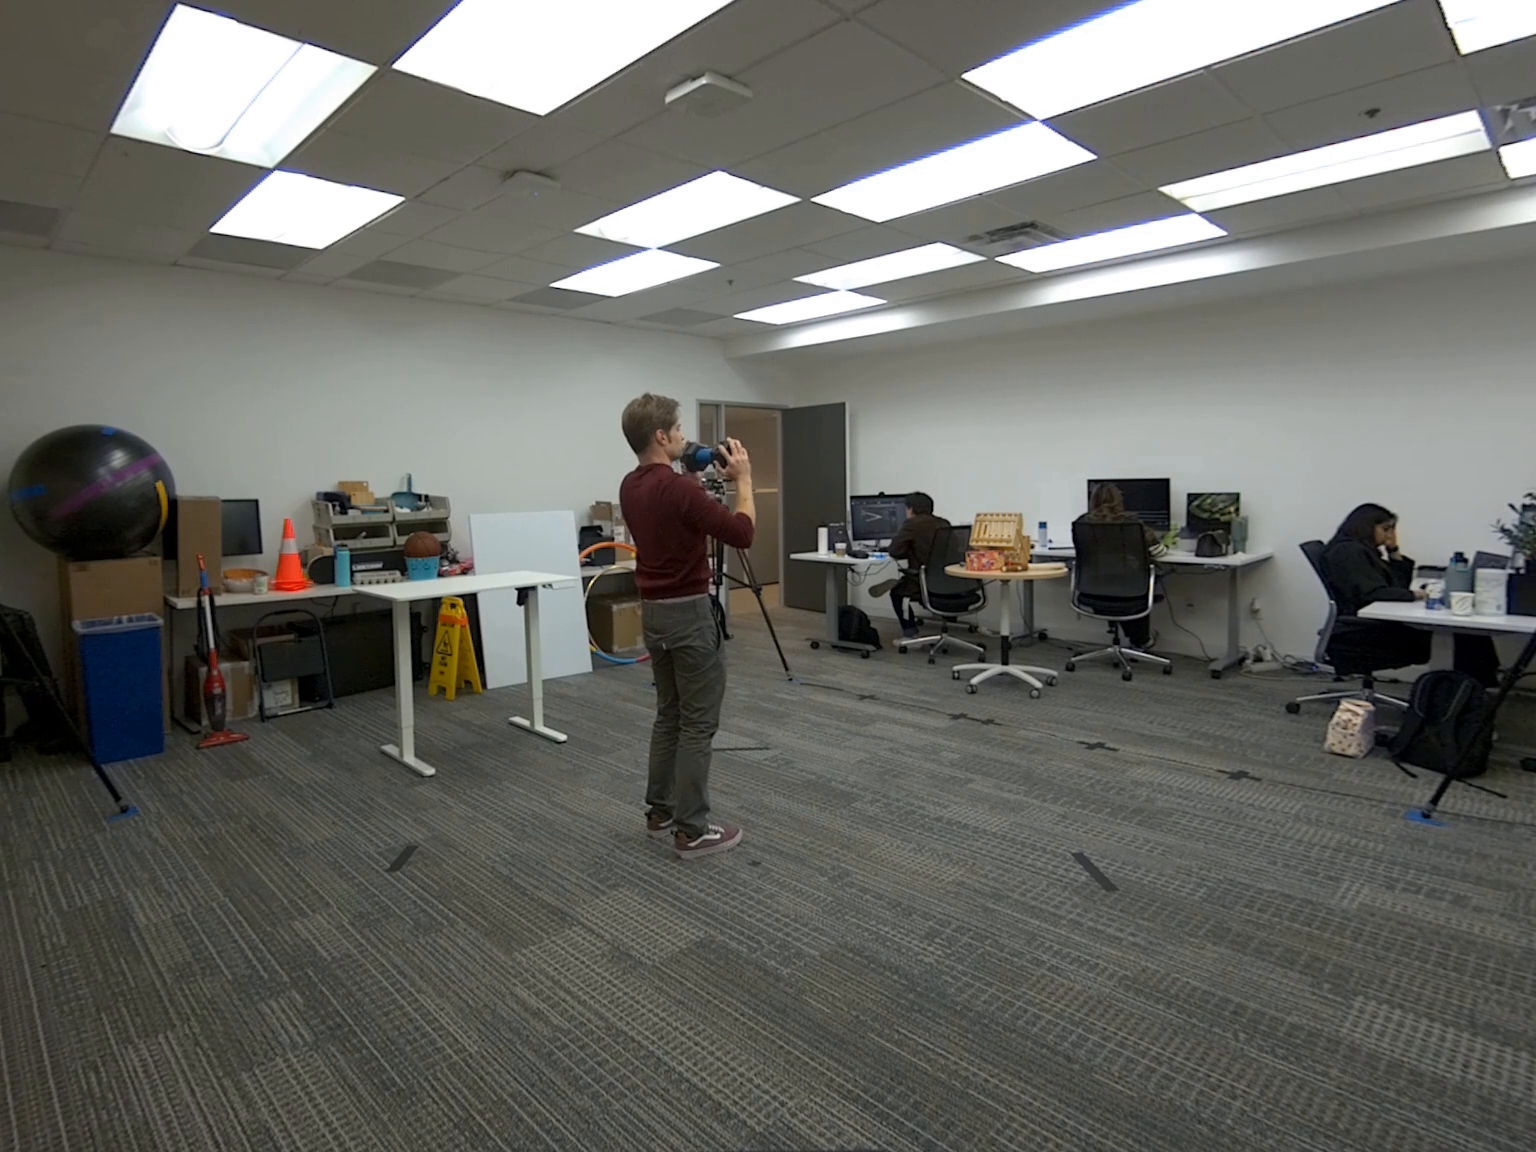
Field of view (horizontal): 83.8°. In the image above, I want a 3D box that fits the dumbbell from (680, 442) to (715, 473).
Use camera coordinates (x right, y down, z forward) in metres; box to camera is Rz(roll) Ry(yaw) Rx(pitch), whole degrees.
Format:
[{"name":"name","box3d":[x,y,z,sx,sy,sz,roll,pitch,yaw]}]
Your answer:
[{"name":"dumbbell","box3d":[-0.224,-0.484,3.307,0.107,0.120,0.303,-29,23,-29]}]
